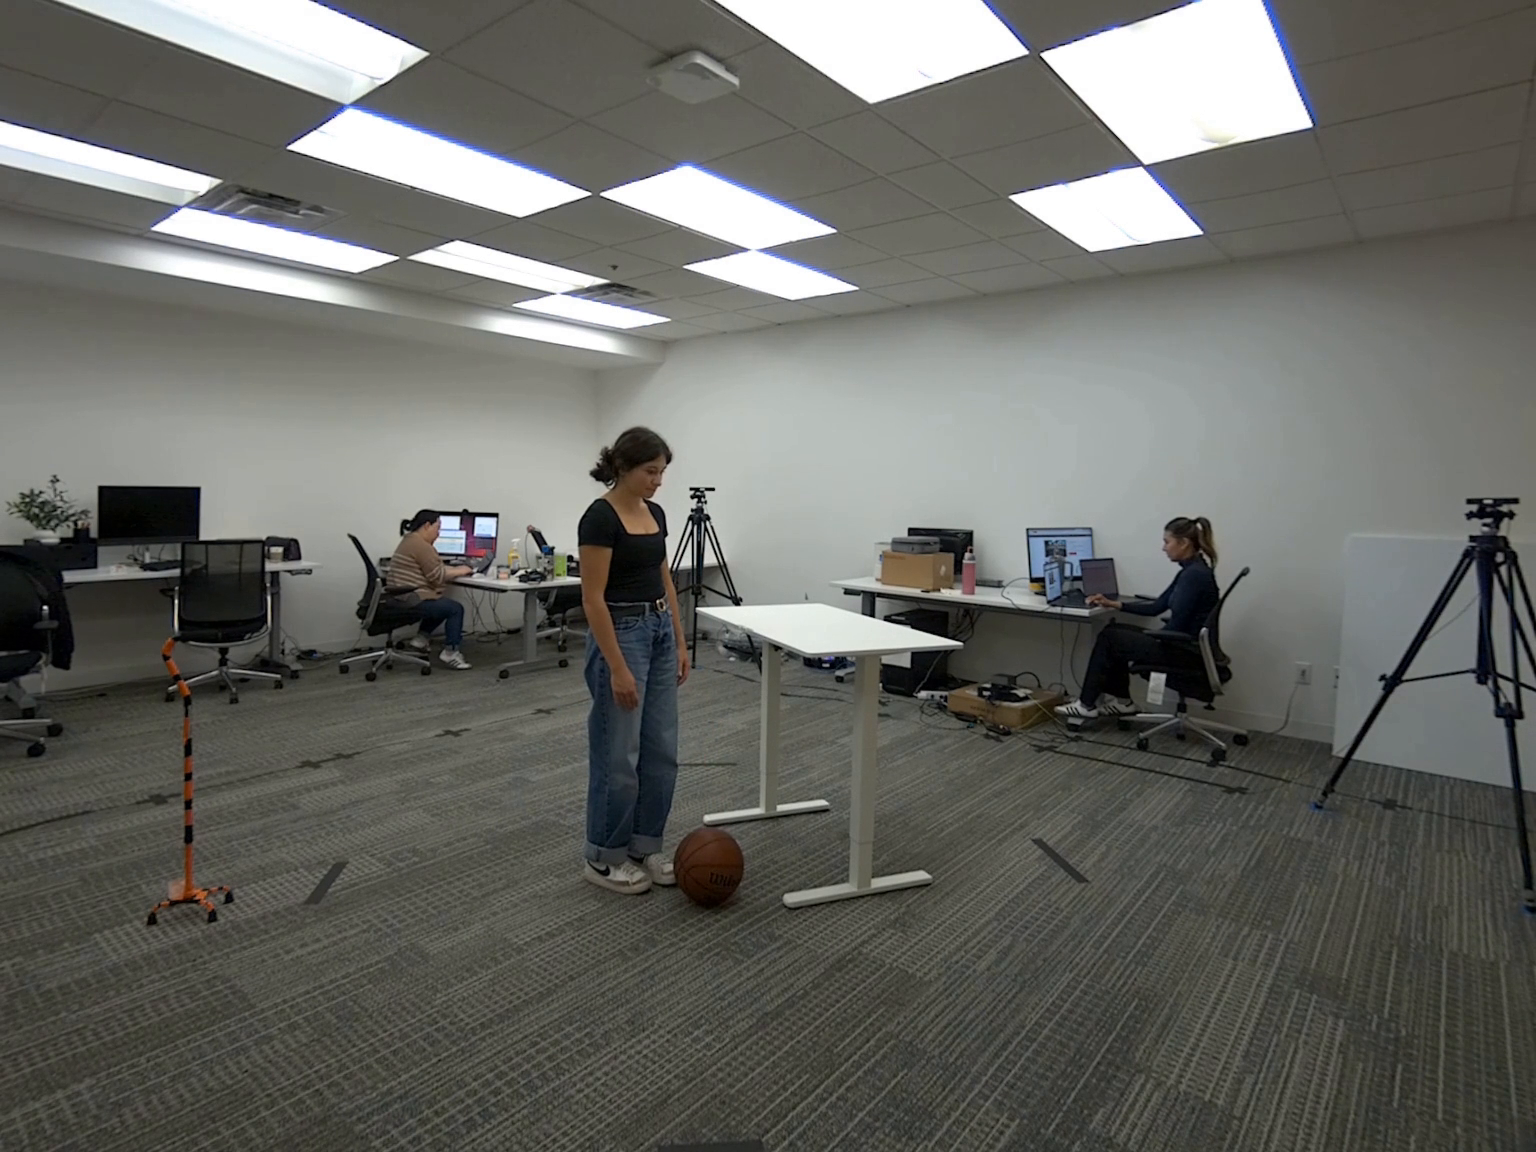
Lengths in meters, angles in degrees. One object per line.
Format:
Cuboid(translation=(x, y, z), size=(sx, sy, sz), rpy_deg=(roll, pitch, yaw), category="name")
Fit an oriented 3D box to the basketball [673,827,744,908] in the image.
Cuboid(translation=(-0.214, 0.966, 2.864), size=(0.235, 0.235, 0.237), rpy_deg=(1, 4, -2), category="basketball")
